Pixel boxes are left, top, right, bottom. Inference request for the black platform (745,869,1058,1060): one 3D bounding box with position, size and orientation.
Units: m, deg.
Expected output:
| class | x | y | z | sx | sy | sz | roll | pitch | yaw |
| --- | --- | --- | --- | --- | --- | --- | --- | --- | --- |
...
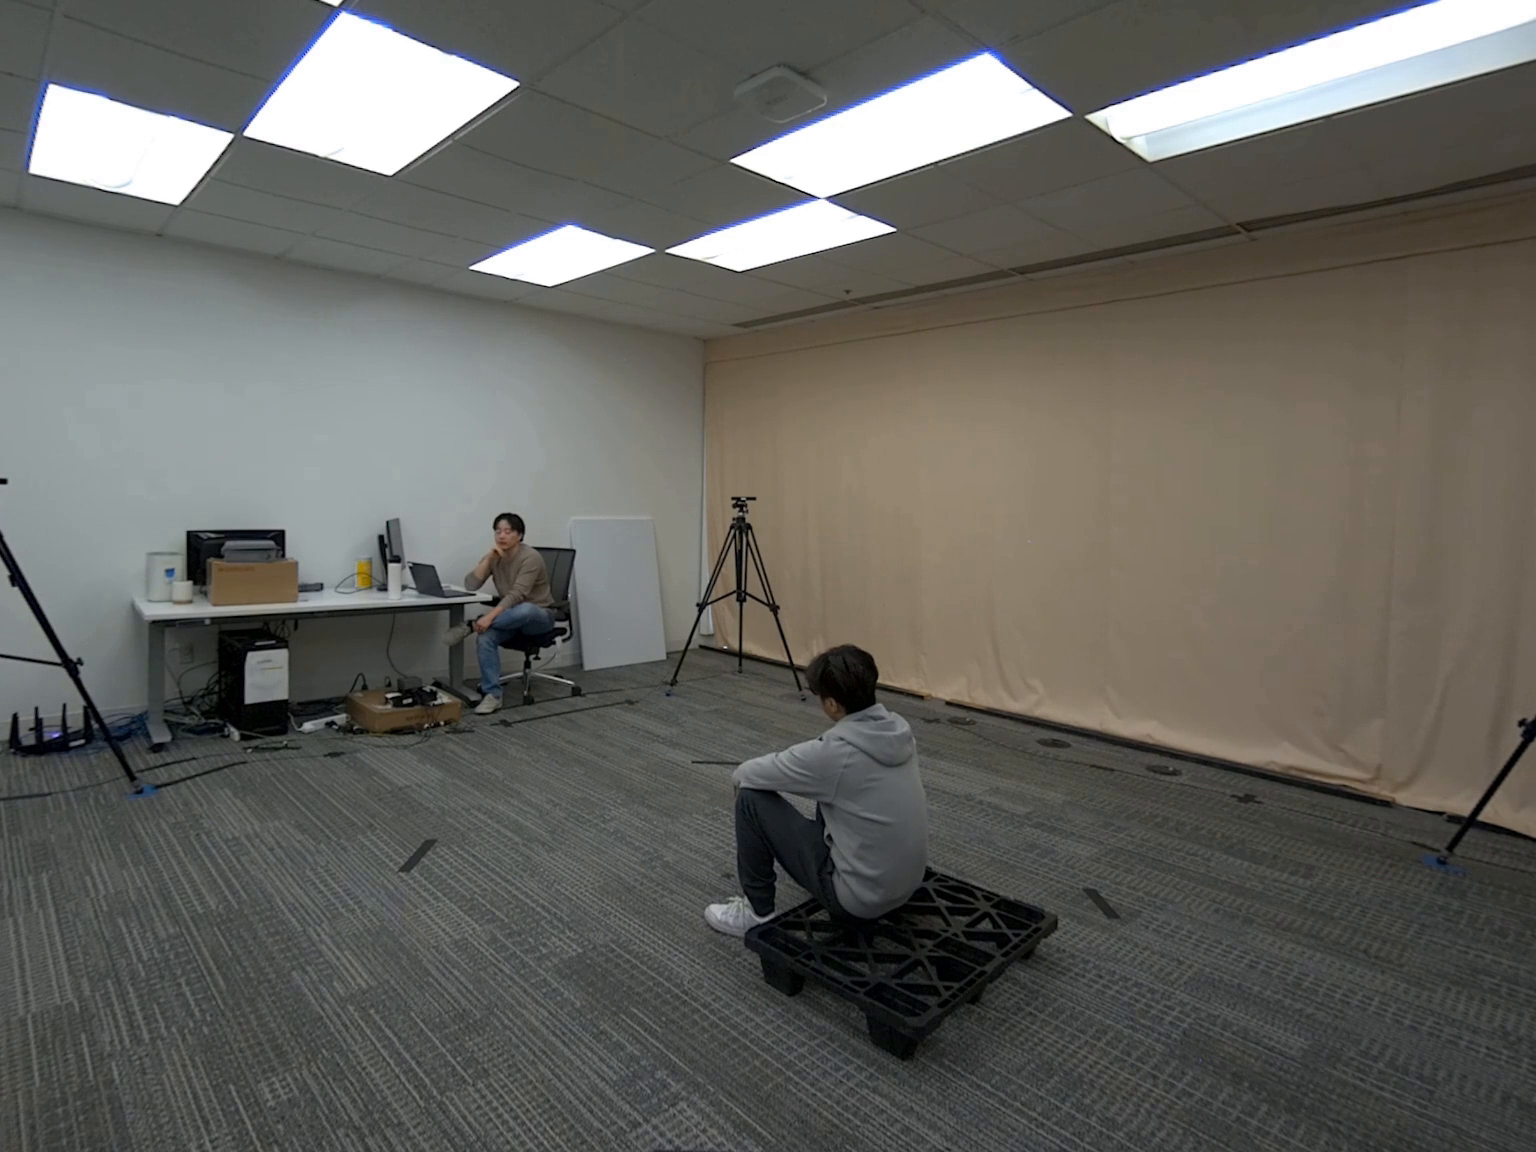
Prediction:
| class | x | y | z | sx | sy | sz | roll | pitch | yaw |
| --- | --- | --- | --- | --- | --- | --- | --- | --- | --- |
| black platform | 0.392 | 1.105 | 2.523 | 0.621 | 0.143 | 0.787 | 6 | 7 | 43 |
